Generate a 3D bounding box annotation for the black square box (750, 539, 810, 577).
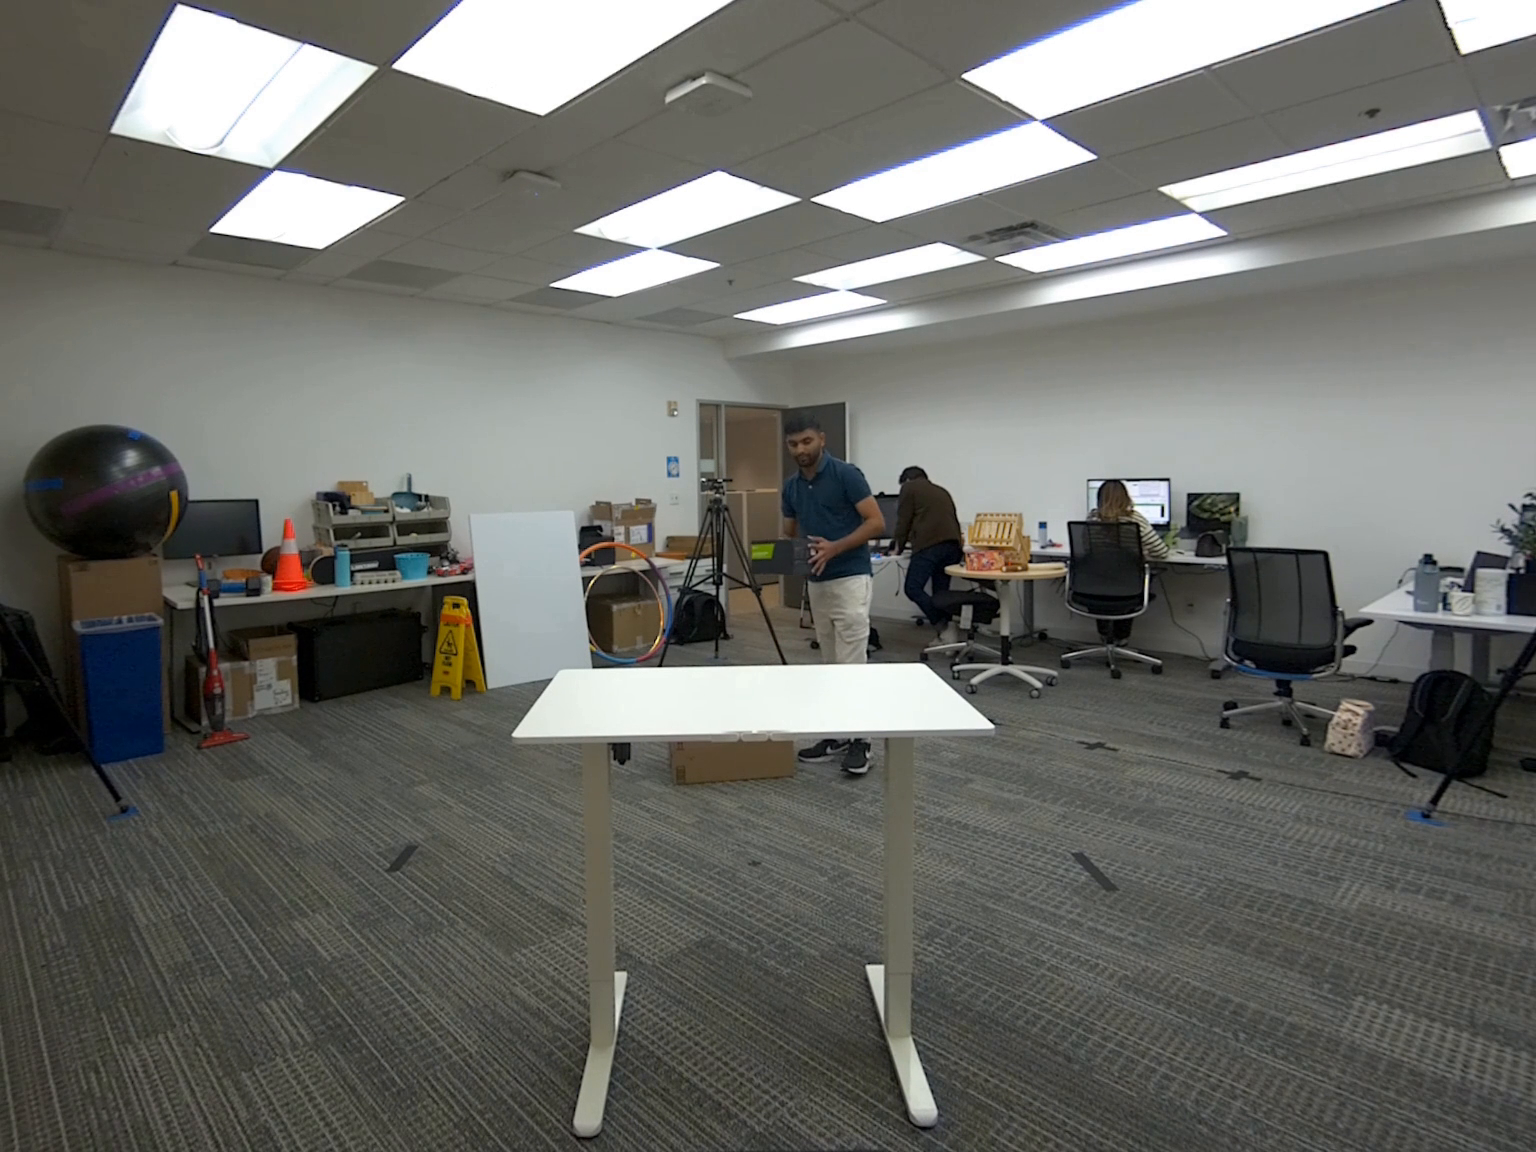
[{"bbox_3d":[0.074,-0.085,3.896,0.234,0.156,0.211,-1,-1,32],"label":"black square box"}]
